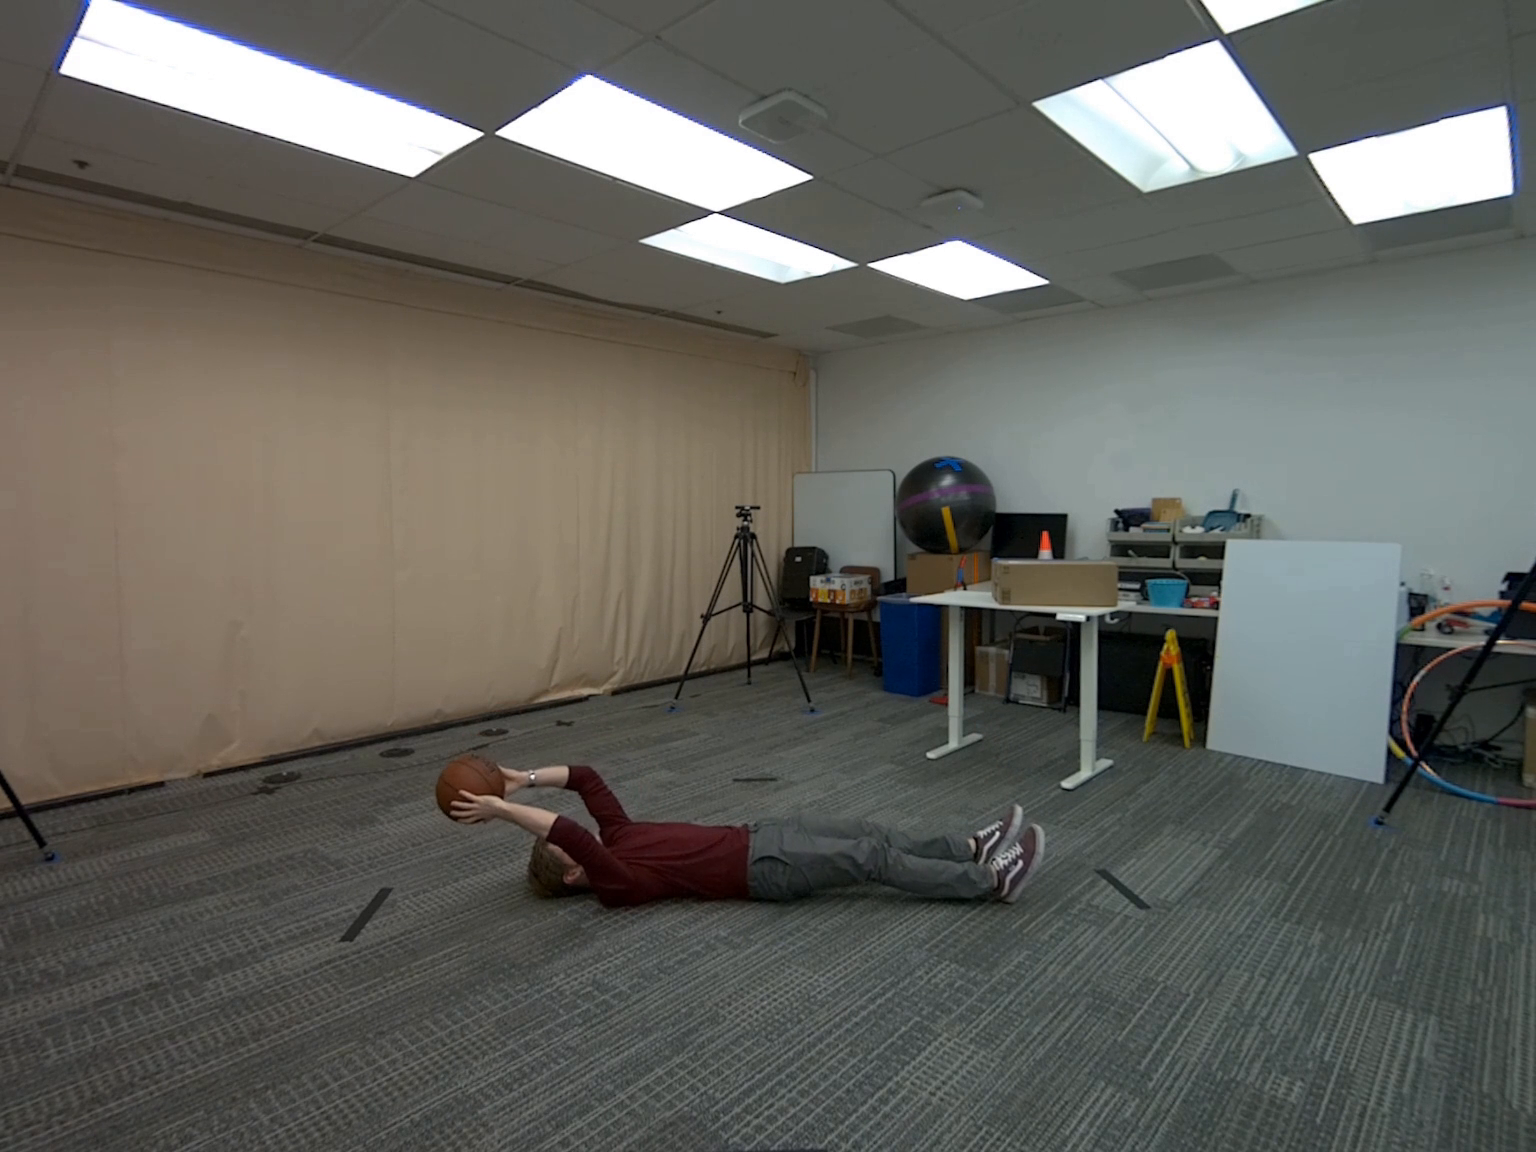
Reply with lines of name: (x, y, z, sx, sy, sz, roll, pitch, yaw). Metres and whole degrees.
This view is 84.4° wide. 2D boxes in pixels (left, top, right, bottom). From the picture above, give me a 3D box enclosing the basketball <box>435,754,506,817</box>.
basketball: (-1.055, 0.755, 2.992, 0.236, 0.235, 0.237, 0, 4, -2)
